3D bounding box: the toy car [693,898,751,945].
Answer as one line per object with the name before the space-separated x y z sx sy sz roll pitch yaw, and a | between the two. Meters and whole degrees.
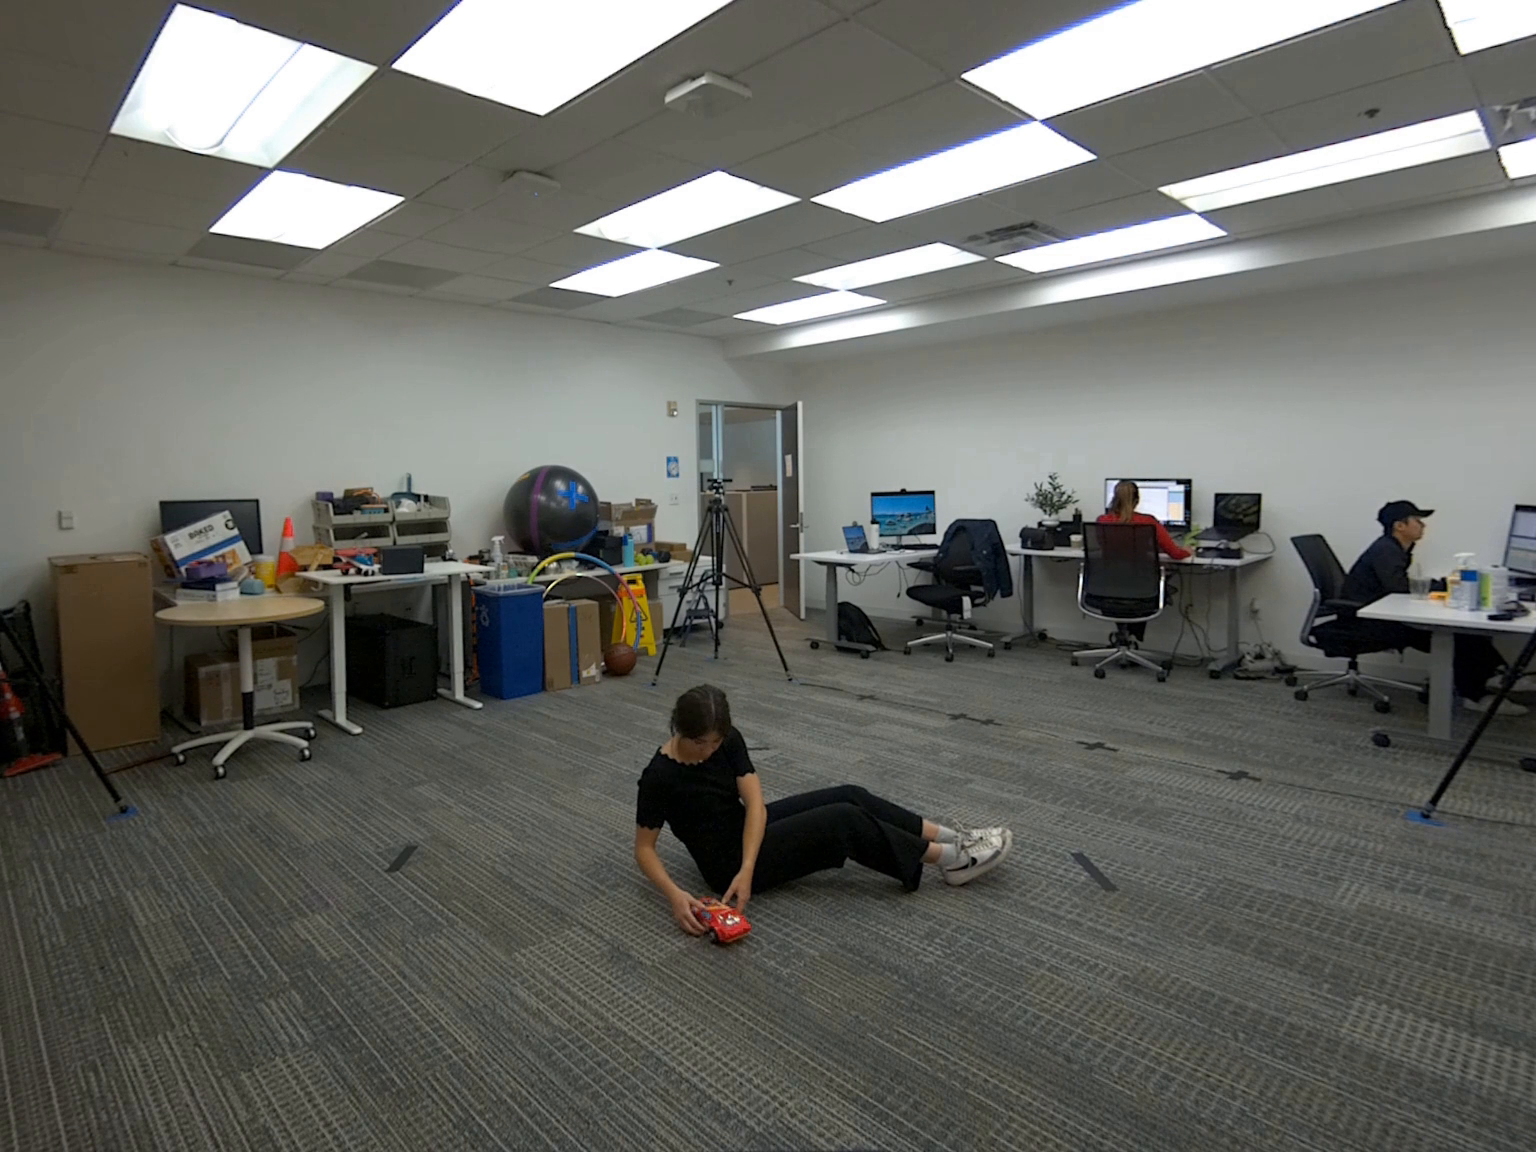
toy car | -0.150 1.073 2.641 0.127 0.084 0.260 -4 -5 -35
